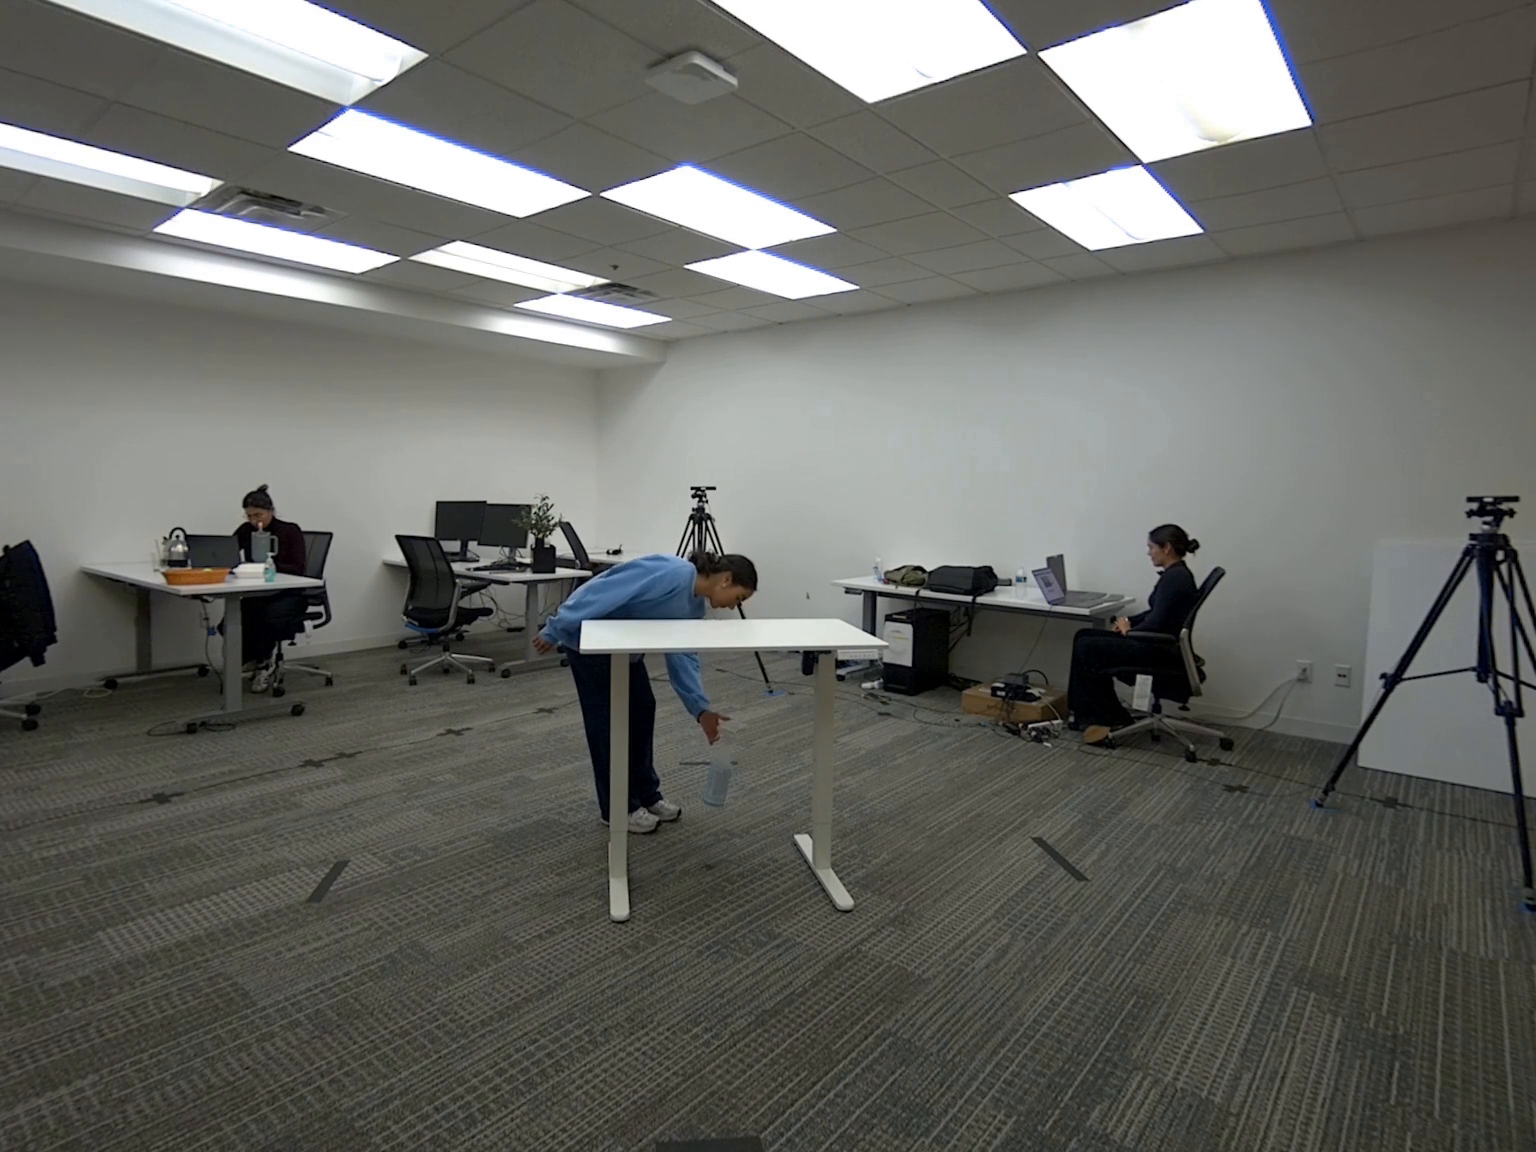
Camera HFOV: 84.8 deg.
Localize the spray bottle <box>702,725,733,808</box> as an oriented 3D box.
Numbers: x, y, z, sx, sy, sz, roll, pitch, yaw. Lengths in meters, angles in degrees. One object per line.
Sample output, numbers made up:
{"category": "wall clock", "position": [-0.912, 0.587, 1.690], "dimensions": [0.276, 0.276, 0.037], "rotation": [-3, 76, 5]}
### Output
{"category": "spray bottle", "position": [-0.194, 0.729, 3.303], "dimensions": [0.092, 0.298, 0.085], "rotation": [9, -2, 19]}
